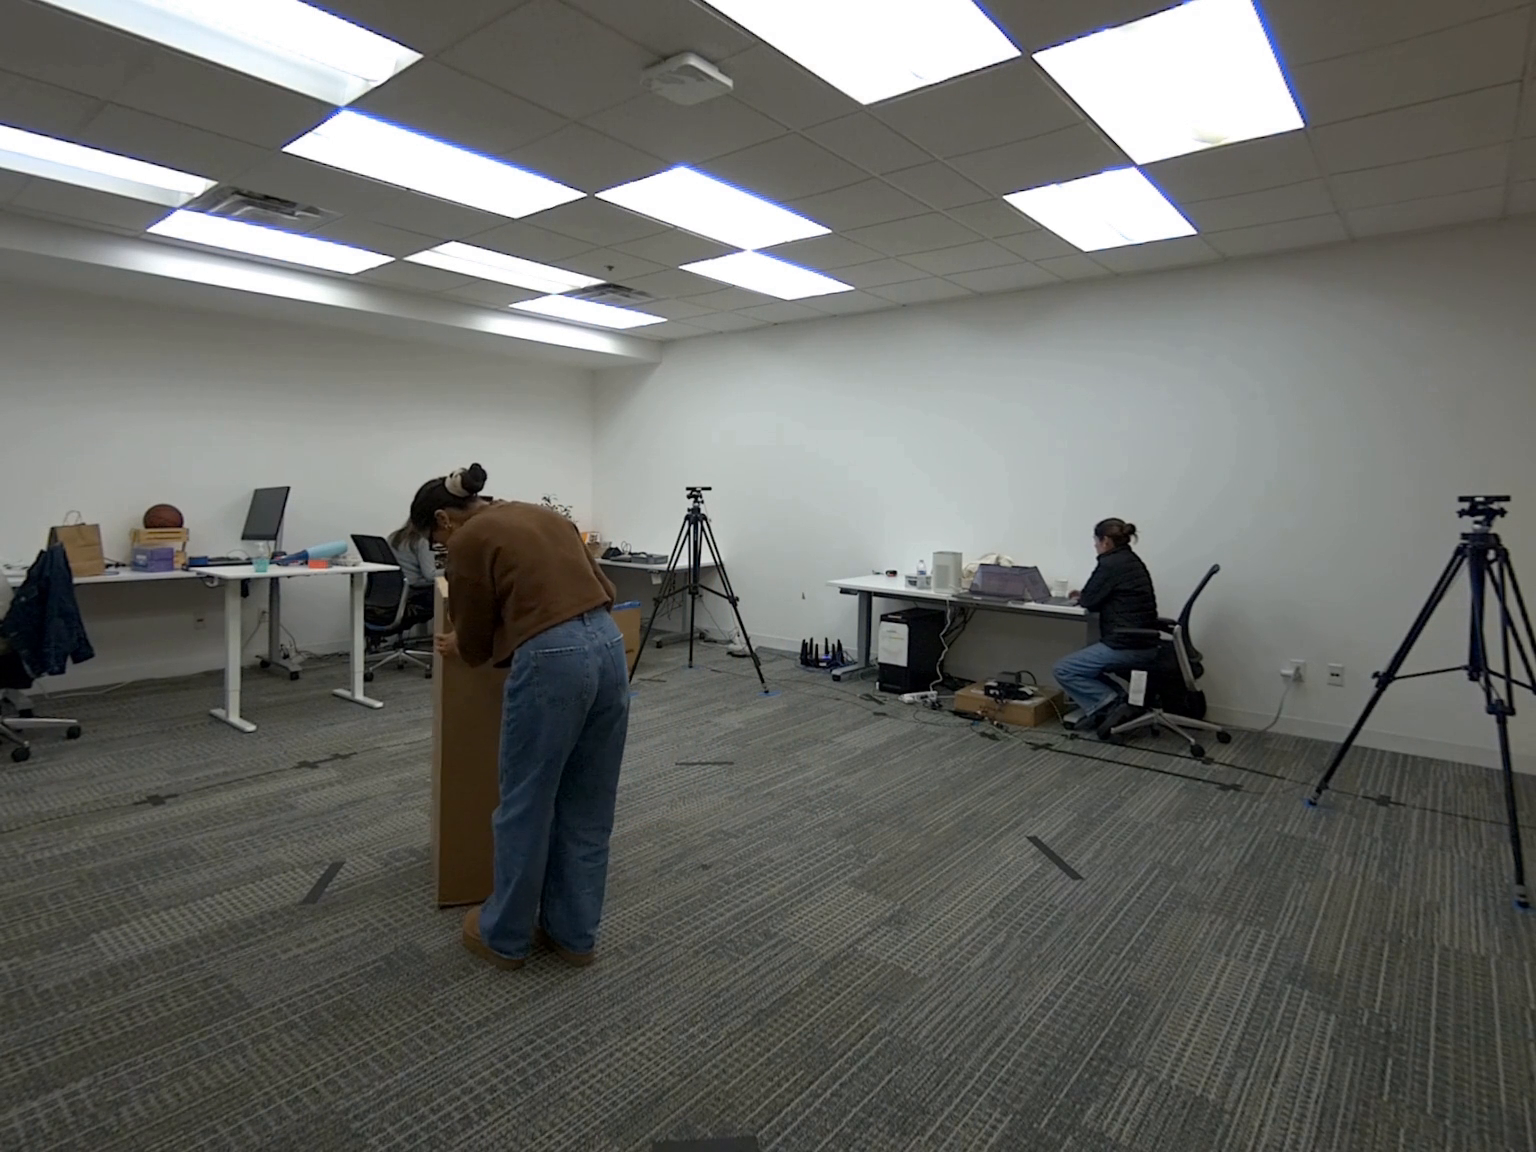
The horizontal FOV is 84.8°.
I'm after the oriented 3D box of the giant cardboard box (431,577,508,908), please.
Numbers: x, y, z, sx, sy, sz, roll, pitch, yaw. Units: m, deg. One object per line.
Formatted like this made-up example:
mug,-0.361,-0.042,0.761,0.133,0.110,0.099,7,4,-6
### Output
giant cardboard box,-0.994,0.545,3.086,0.417,1.023,0.592,0,3,-22
